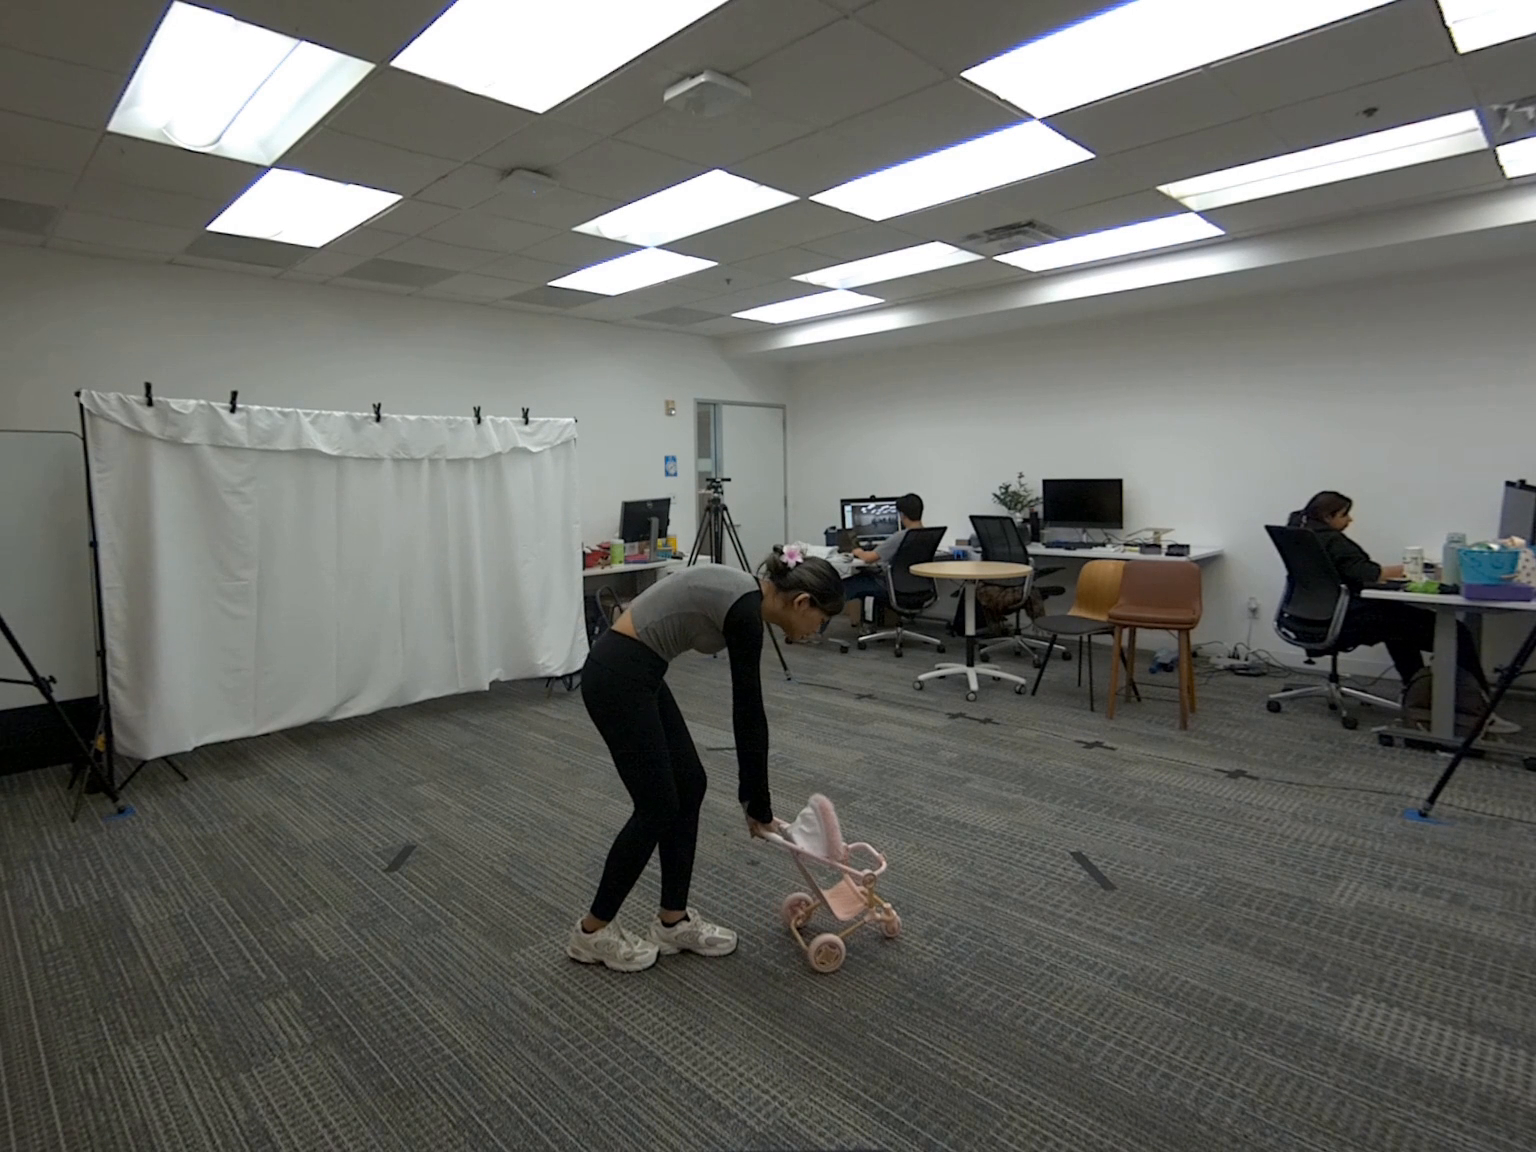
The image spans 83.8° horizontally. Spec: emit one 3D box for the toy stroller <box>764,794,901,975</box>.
[{"bbox_3d":[0.192,0.884,2.532,0.339,0.530,0.286,-18,8,-9],"label":"toy stroller"}]
